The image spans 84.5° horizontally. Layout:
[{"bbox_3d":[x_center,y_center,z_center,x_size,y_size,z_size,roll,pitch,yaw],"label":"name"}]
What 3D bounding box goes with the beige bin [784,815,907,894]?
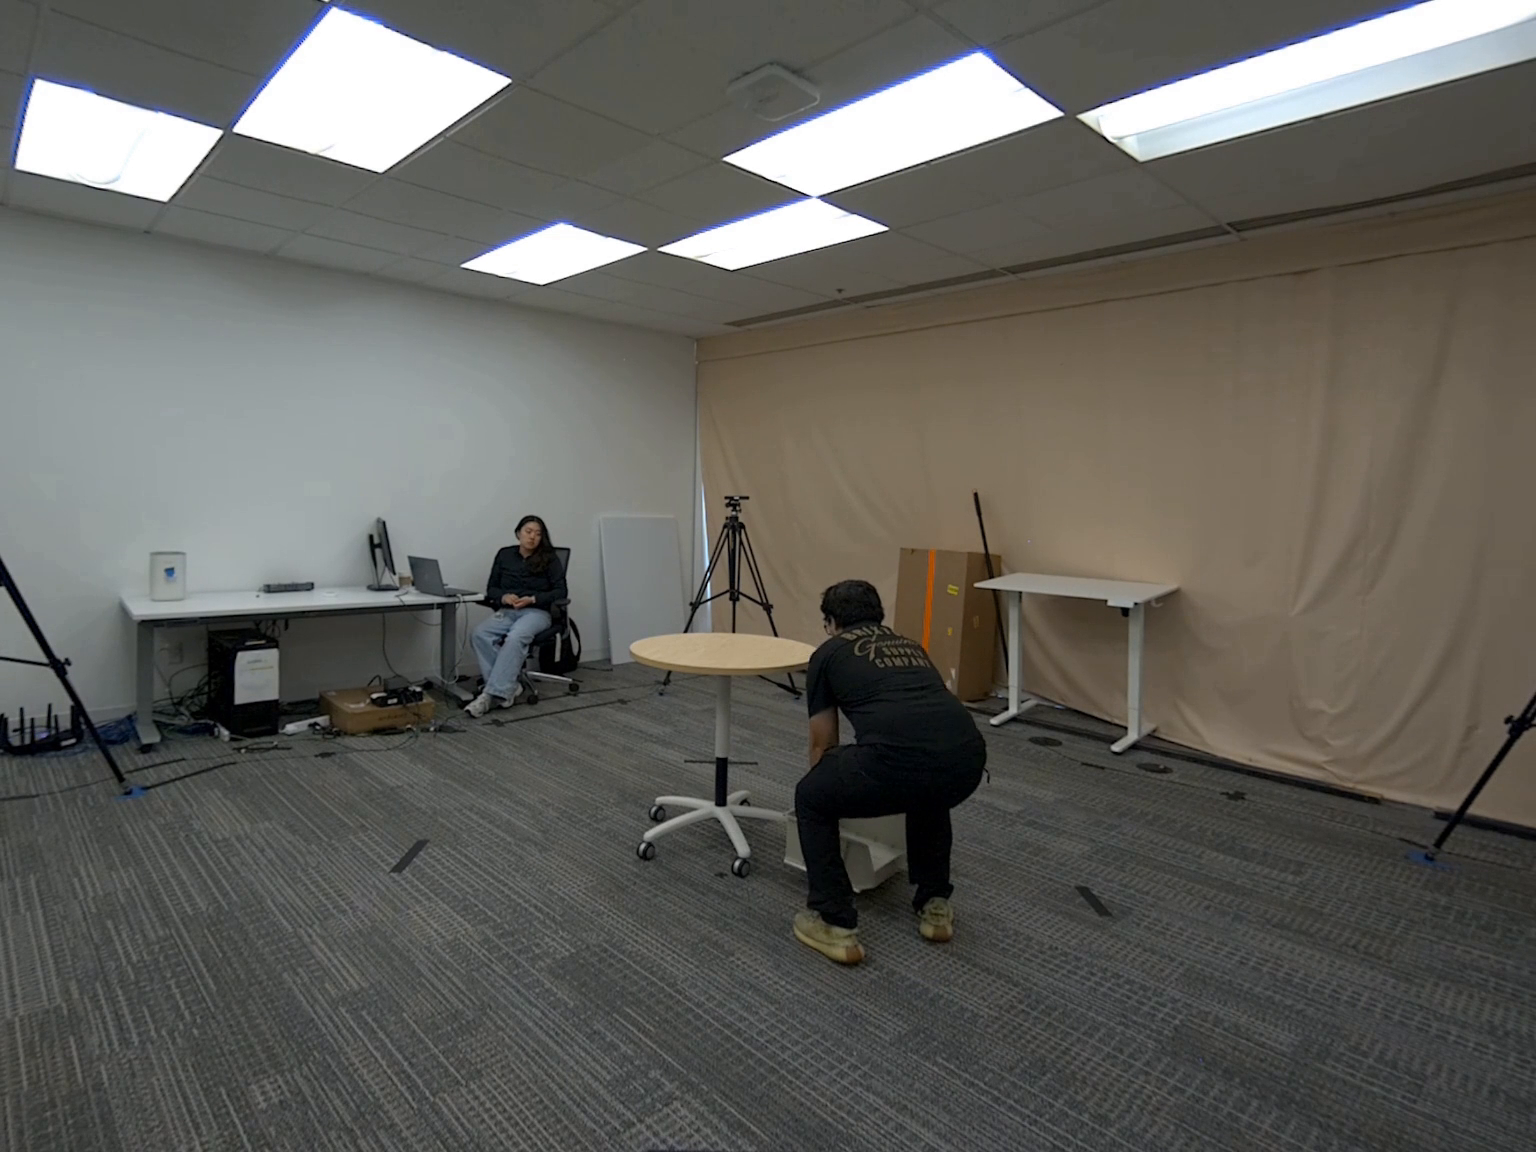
[{"bbox_3d":[0.318,0.955,3.083,0.387,0.188,0.413,6,5,36],"label":"beige bin"}]
